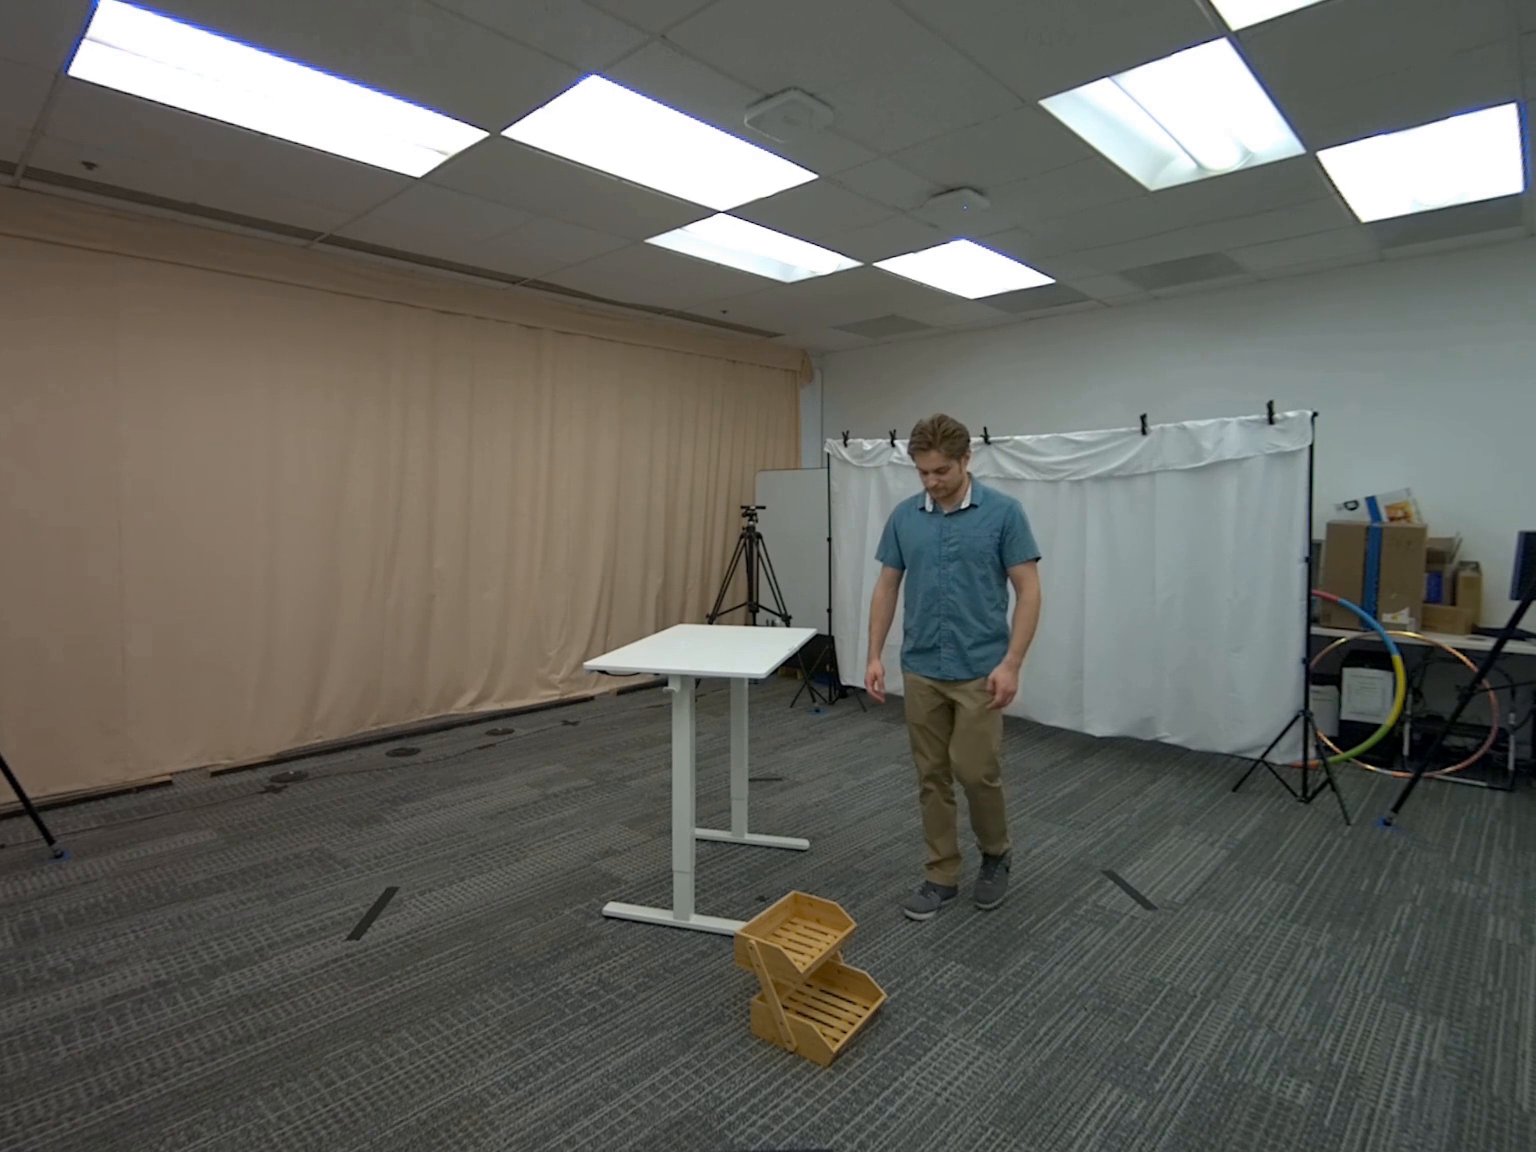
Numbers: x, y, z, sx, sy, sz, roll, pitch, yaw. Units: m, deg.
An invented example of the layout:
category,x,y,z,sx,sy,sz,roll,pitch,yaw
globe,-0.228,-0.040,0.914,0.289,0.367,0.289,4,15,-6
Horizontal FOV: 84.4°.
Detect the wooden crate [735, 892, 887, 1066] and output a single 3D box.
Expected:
category,x,y,z,sx,sy,sz,roll,pitch,yaw
wooden crate,0.127,1.072,2.271,0.311,0.273,0.315,2,4,35
